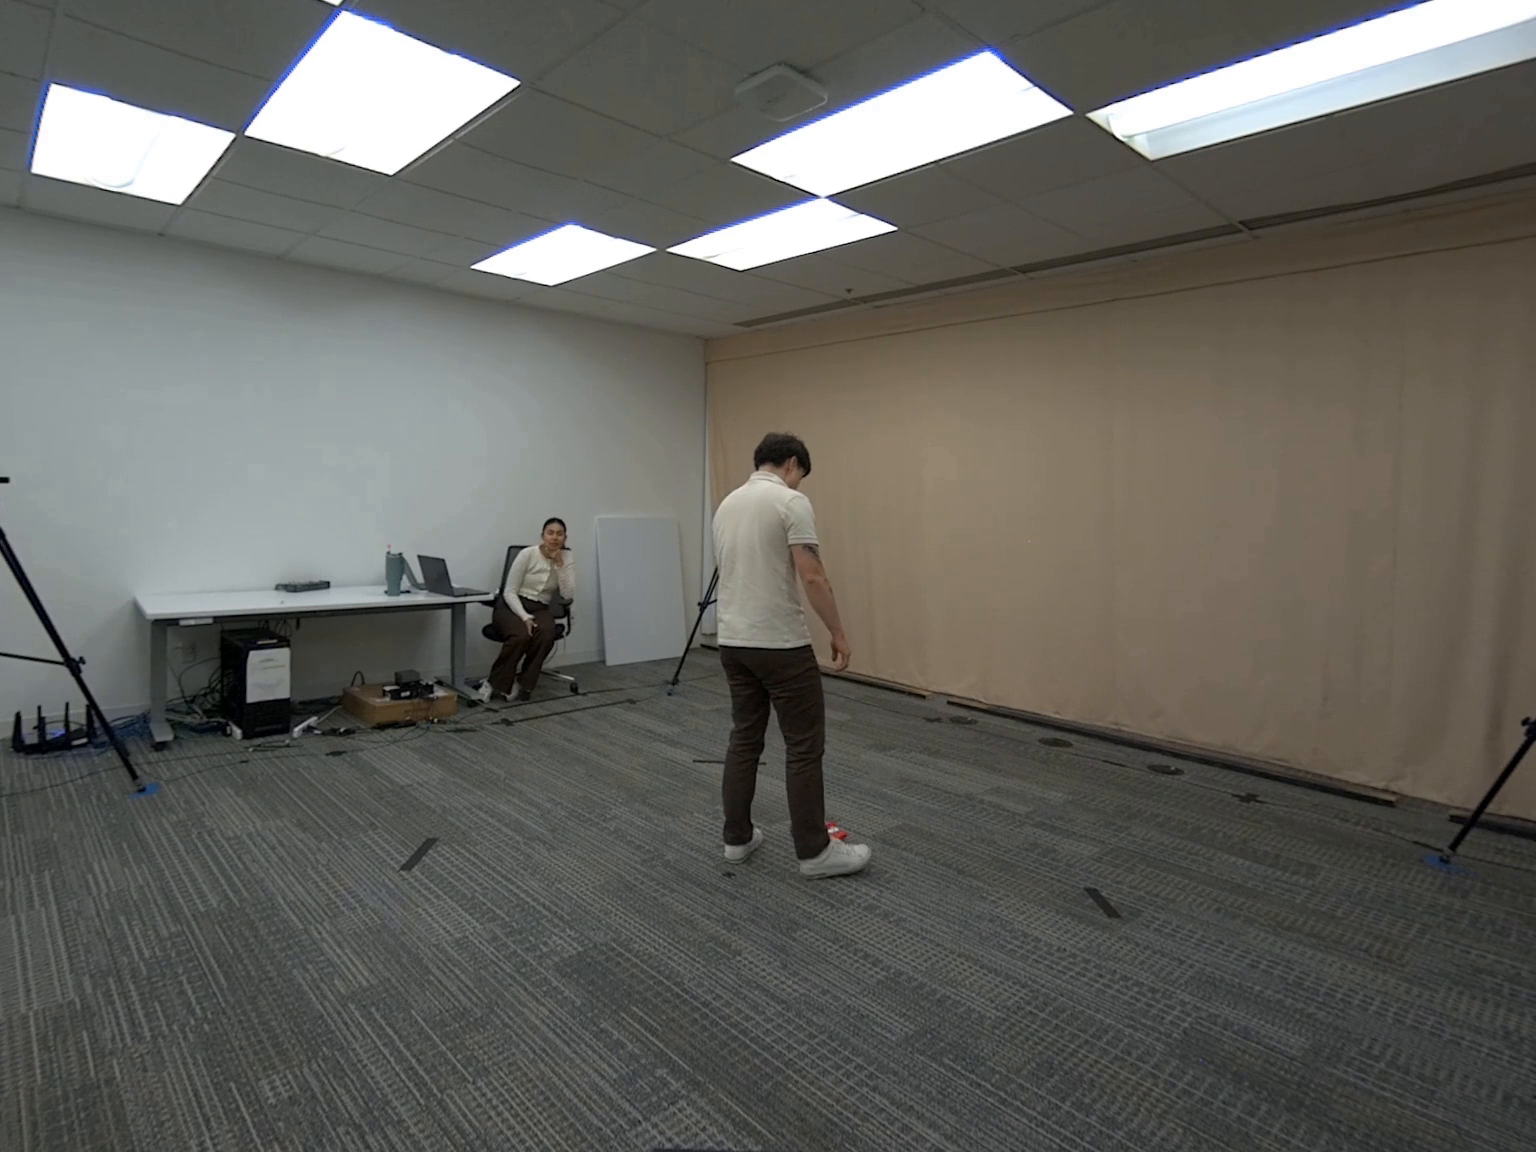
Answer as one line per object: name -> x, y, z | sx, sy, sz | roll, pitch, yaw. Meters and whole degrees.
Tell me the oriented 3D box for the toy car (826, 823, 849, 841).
toy car -> 0.202, 1.051, 3.443 | 0.127, 0.083, 0.259 | -1, -6, -43
